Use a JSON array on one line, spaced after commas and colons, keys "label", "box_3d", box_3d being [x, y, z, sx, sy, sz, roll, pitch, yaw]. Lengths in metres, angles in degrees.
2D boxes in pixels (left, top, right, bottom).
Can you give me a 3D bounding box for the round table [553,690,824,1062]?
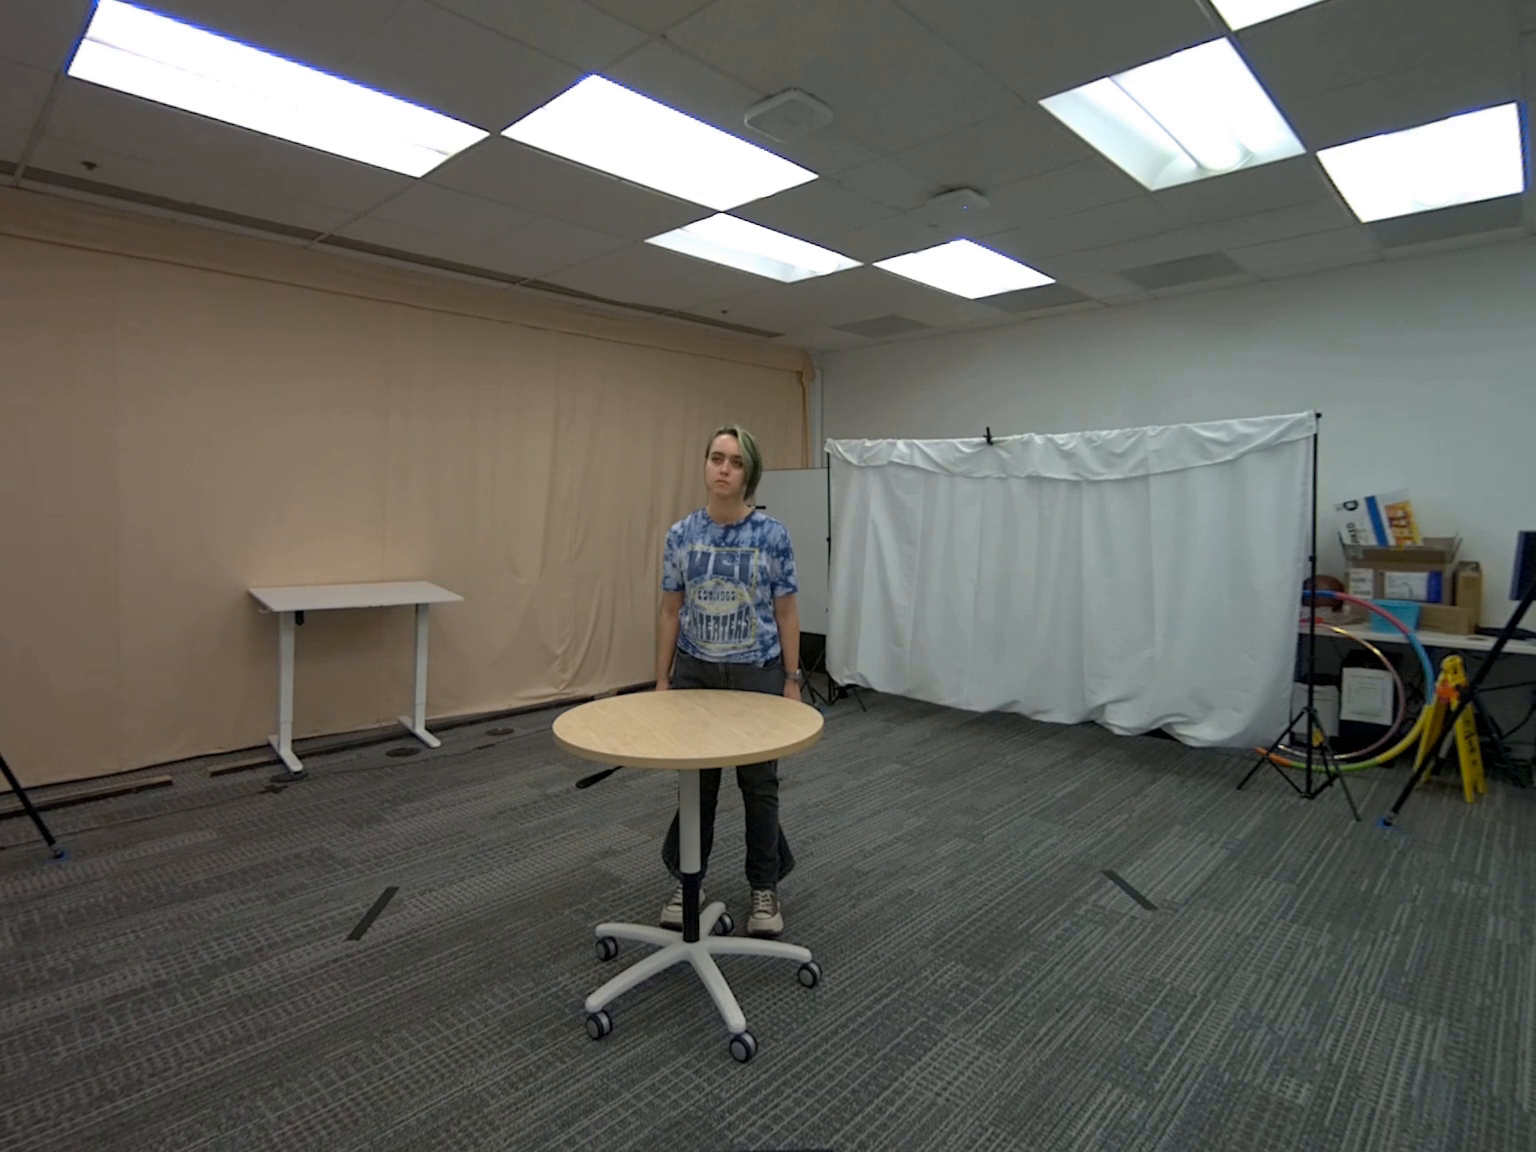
[{"label": "round table", "box_3d": [-0.232, 0.796, 2.434, 0.784, 0.785, 0.788, 0, 4, -2]}]
